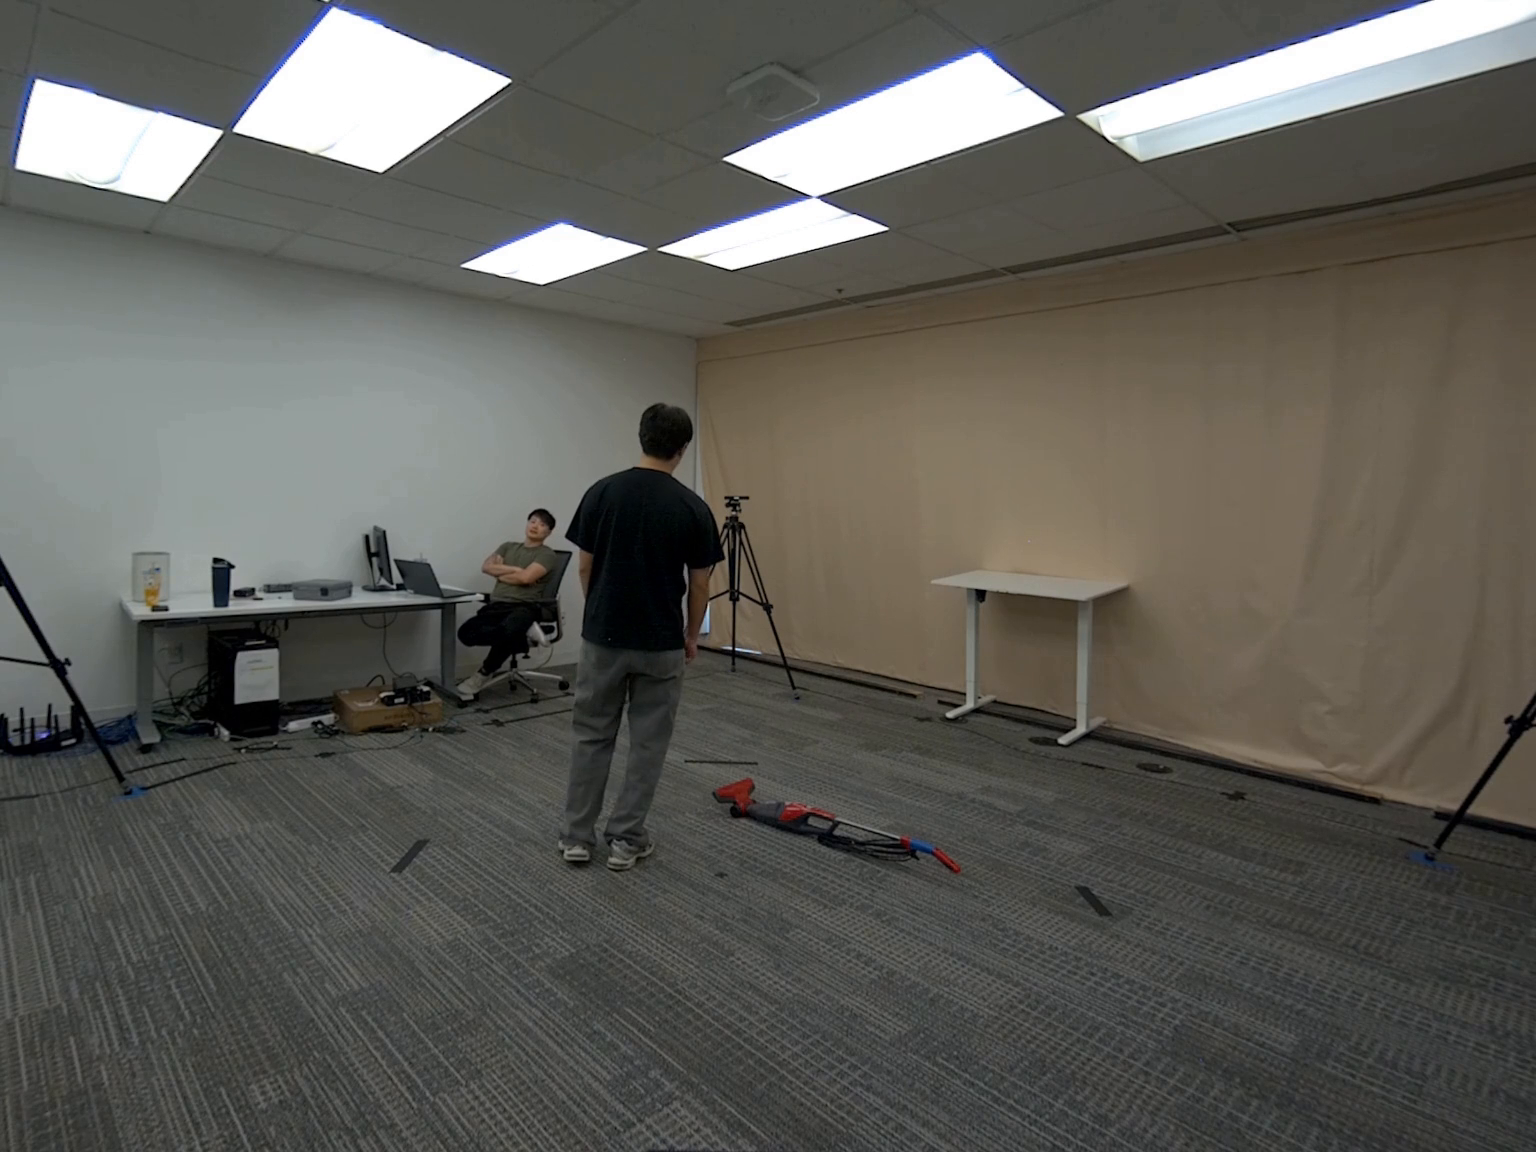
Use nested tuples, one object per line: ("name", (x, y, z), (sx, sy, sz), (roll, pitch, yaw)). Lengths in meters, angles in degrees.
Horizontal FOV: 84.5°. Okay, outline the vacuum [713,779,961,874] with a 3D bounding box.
("vacuum", (0.262, 1.026, 3.403), (1.076, 0.143, 0.247), (5, 7, 39))
